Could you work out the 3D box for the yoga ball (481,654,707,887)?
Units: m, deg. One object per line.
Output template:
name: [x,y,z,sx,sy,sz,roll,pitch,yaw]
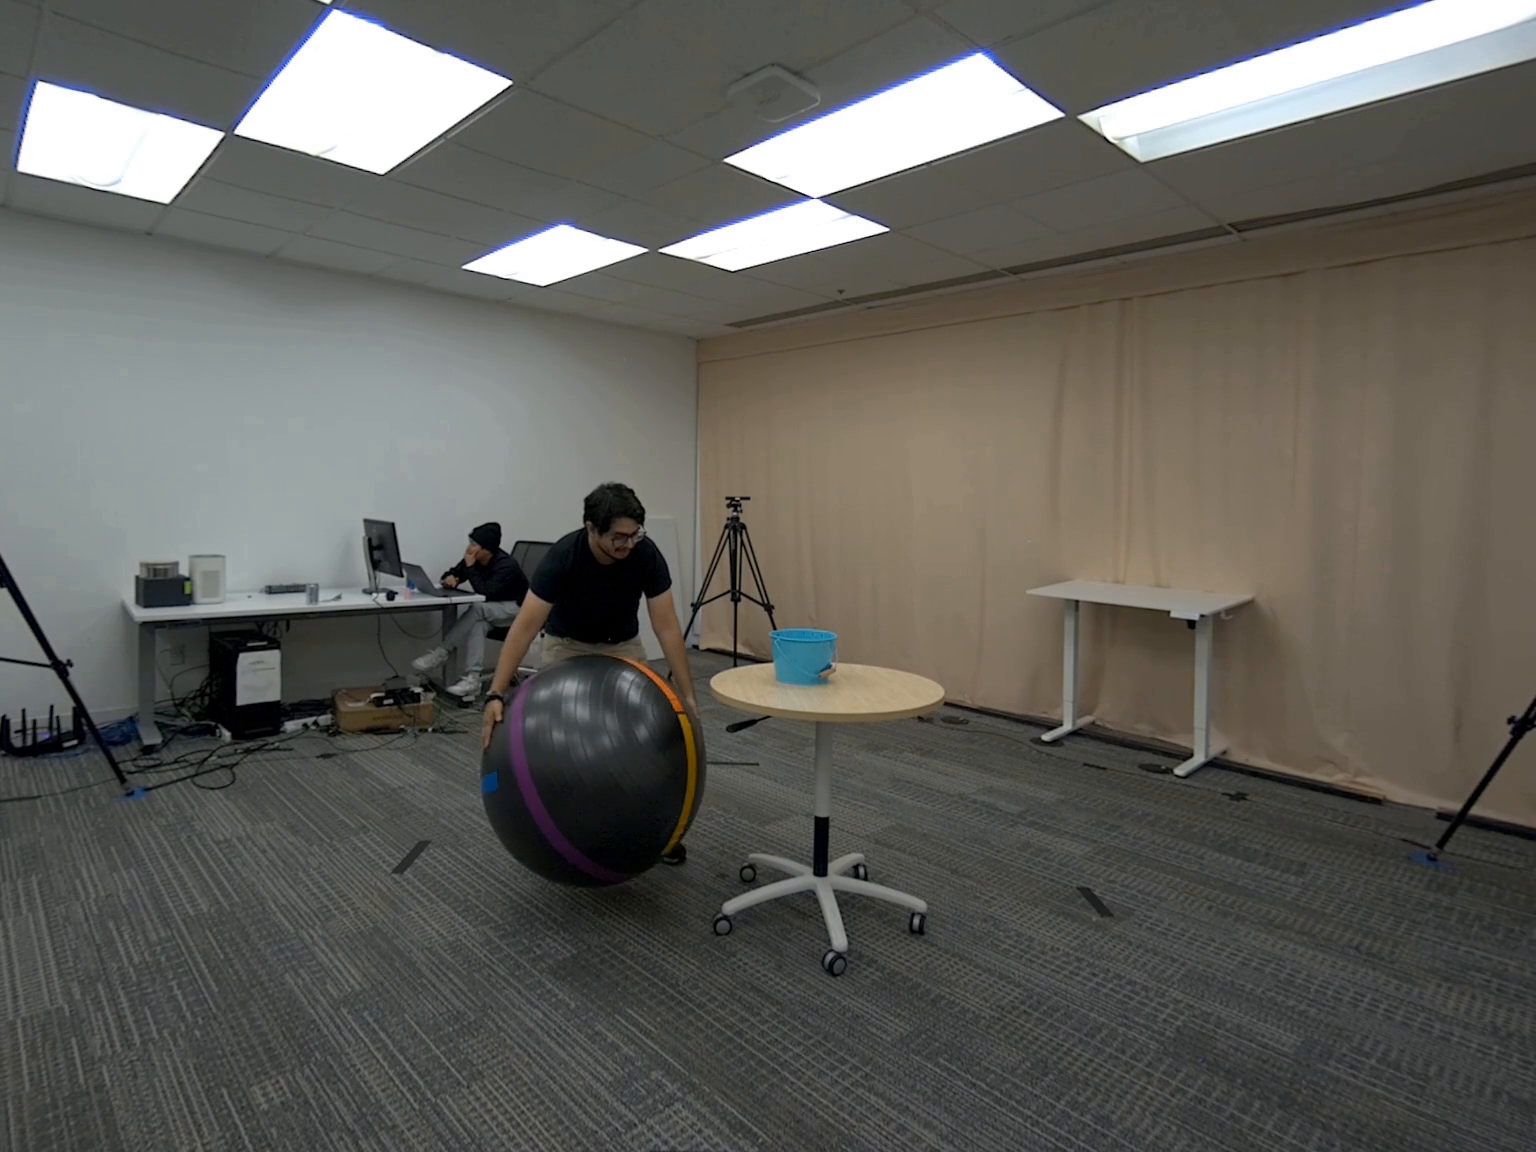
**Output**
yoga ball: [-0.607,0.657,2.854,0.757,0.756,0.761,1,4,-1]
